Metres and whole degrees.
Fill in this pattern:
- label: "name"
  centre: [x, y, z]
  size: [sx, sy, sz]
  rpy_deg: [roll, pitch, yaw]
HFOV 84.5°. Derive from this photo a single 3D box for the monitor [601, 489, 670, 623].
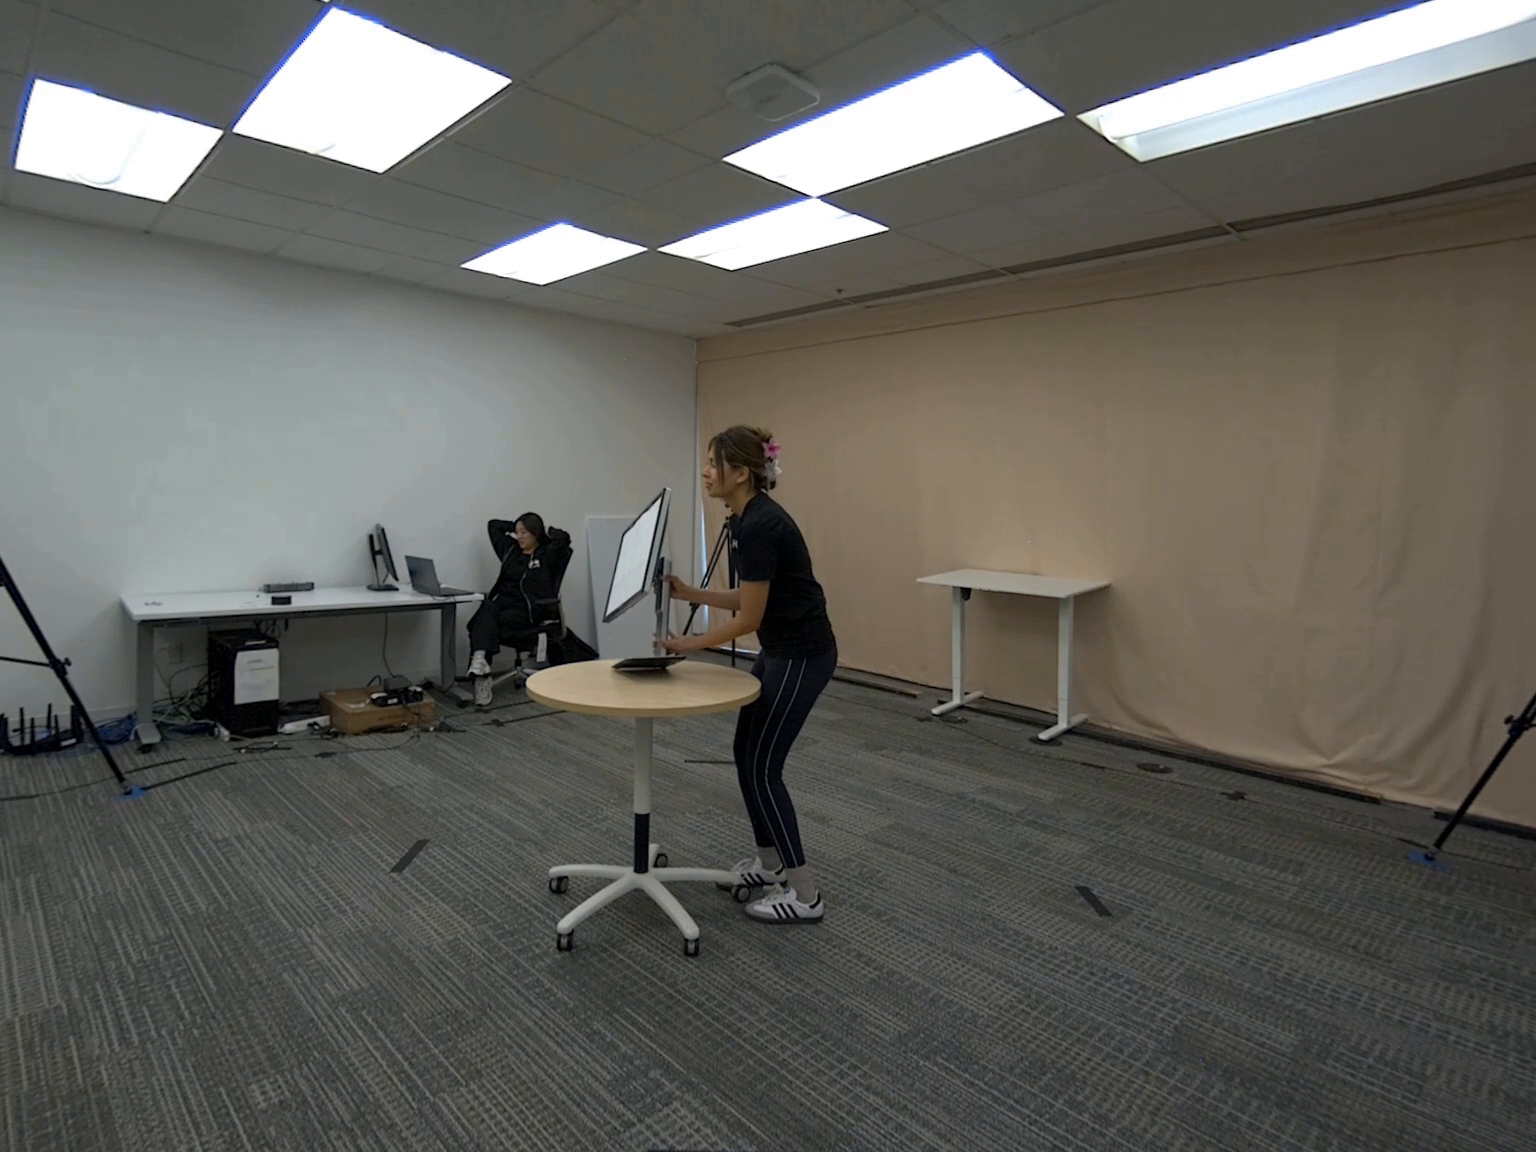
- label: "monitor"
  centre: [-0.432, 0.035, 2.919]
  size: [0.183, 0.528, 0.544]
  rpy_deg: [4, -14, -25]
